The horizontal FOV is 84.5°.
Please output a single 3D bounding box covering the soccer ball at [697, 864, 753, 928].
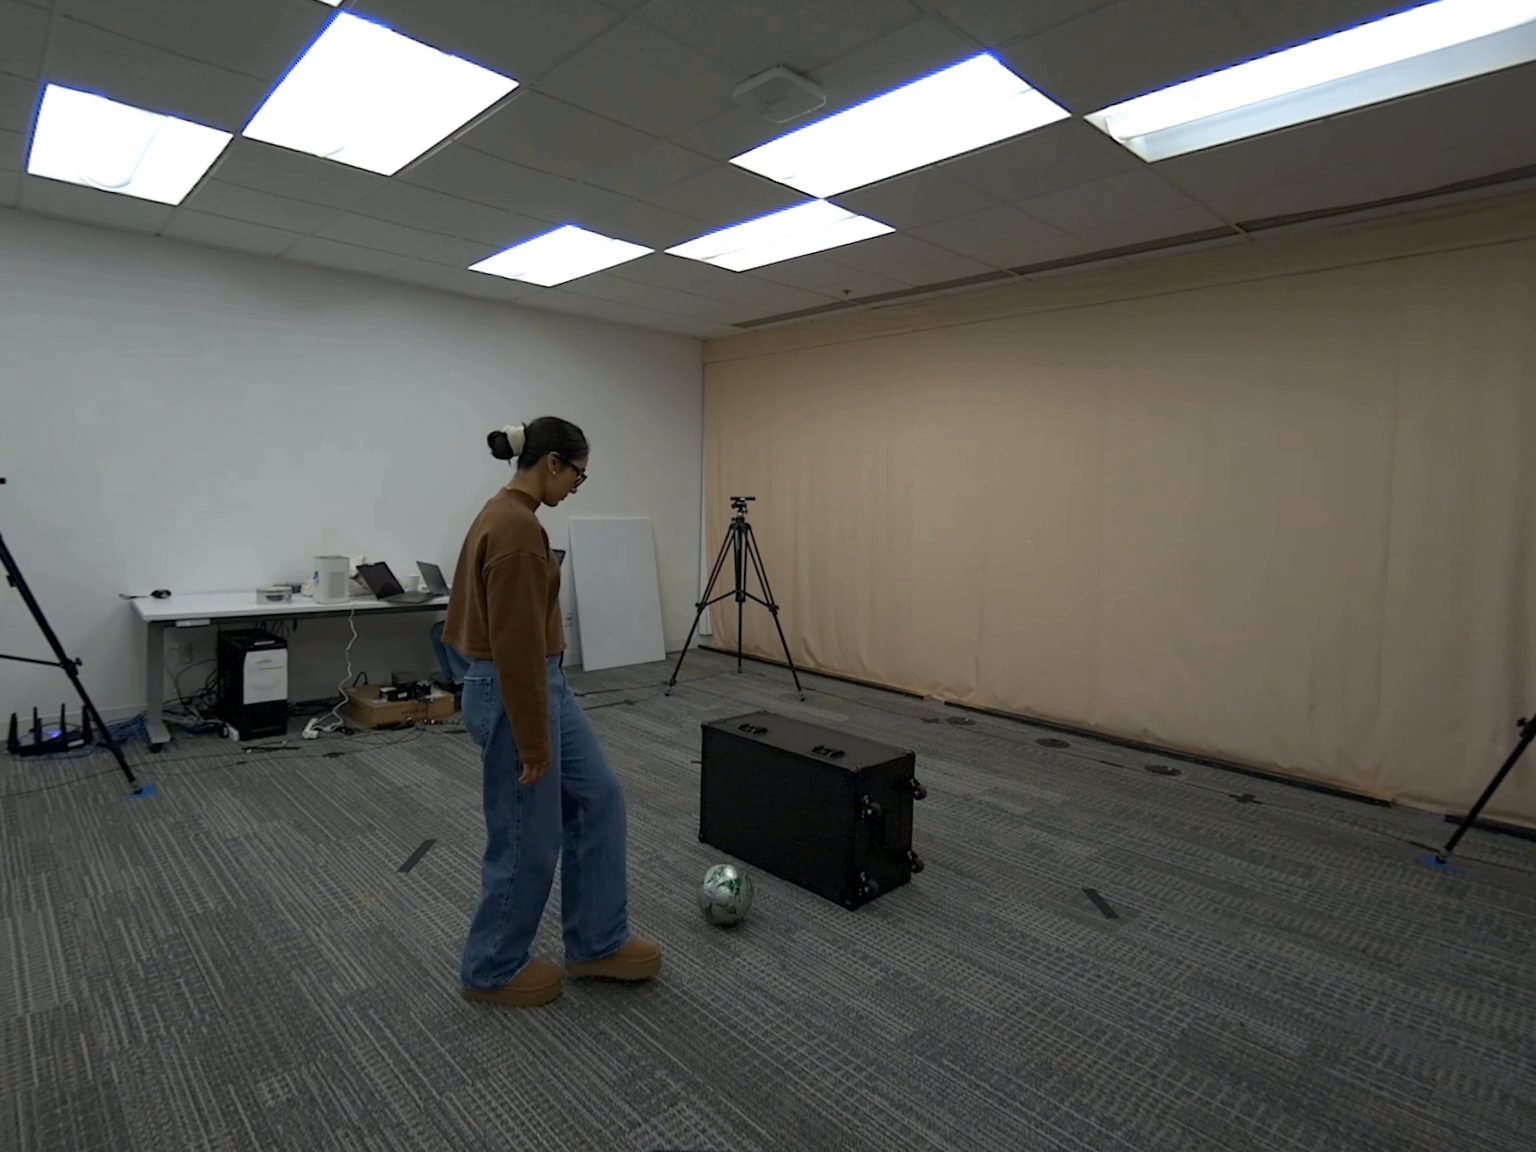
[{"bbox_3d":[-0.151,1.047,2.762,0.187,0.187,0.188,1,4,-1],"label":"soccer ball"}]
